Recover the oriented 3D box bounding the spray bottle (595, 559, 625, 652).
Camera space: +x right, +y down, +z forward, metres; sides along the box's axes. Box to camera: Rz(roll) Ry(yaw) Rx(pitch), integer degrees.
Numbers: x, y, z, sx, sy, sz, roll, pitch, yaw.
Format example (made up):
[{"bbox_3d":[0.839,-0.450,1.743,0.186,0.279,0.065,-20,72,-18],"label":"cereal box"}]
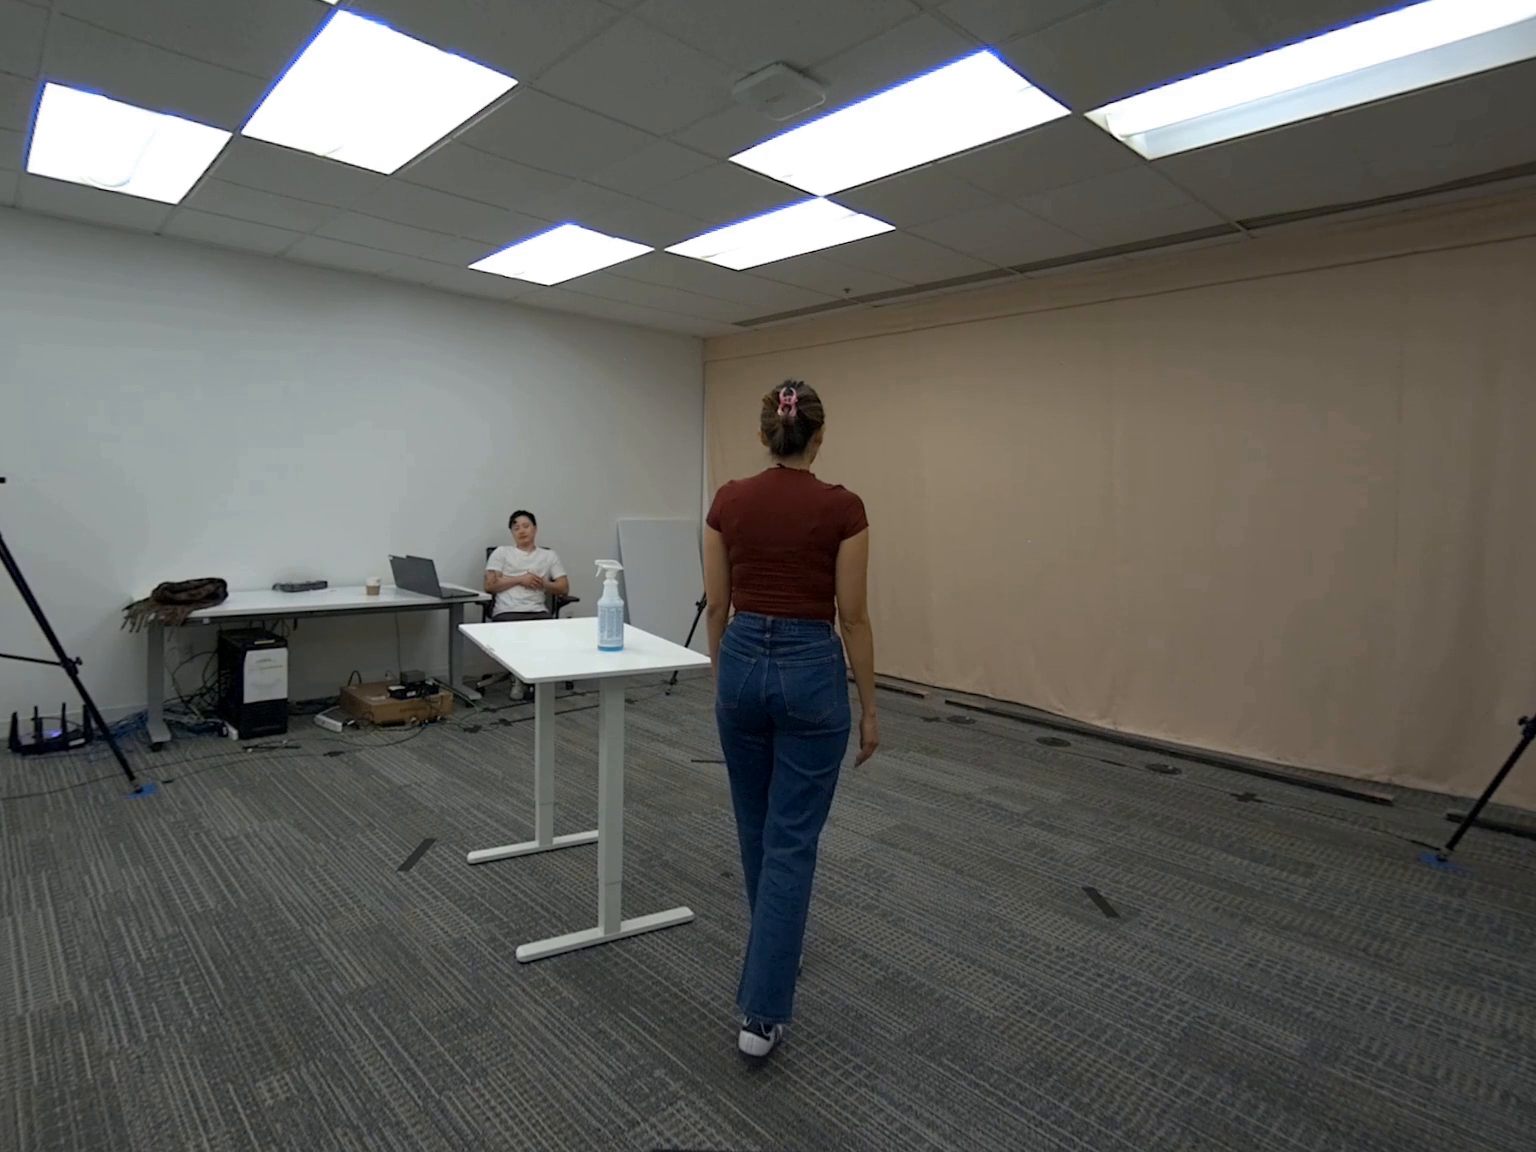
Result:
[{"bbox_3d":[-0.531,0.100,2.766,0.091,0.296,0.086,1,4,9],"label":"spray bottle"}]
